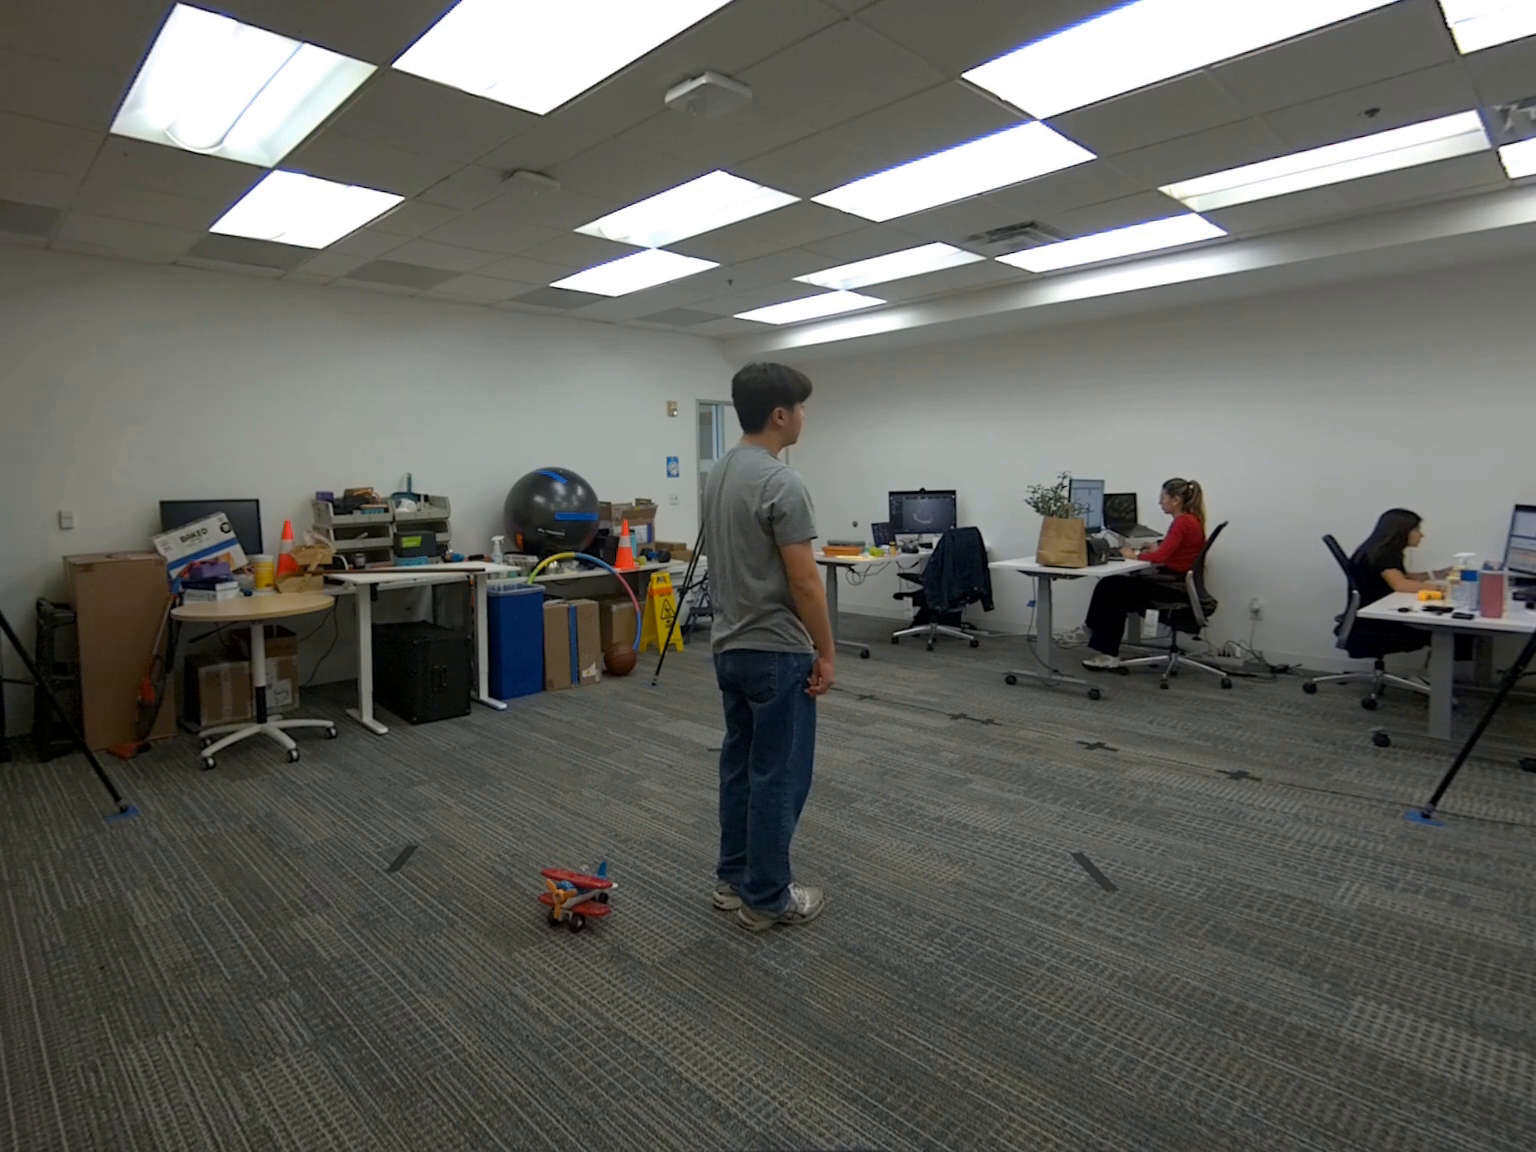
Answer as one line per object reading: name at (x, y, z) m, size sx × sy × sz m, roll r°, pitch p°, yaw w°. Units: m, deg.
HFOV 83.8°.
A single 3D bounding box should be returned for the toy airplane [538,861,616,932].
toy airplane at (-0.612, 1.015, 2.771) m, size 0.250 × 0.155 × 0.261 m, roll -2°, pitch 8°, yaw -3°
